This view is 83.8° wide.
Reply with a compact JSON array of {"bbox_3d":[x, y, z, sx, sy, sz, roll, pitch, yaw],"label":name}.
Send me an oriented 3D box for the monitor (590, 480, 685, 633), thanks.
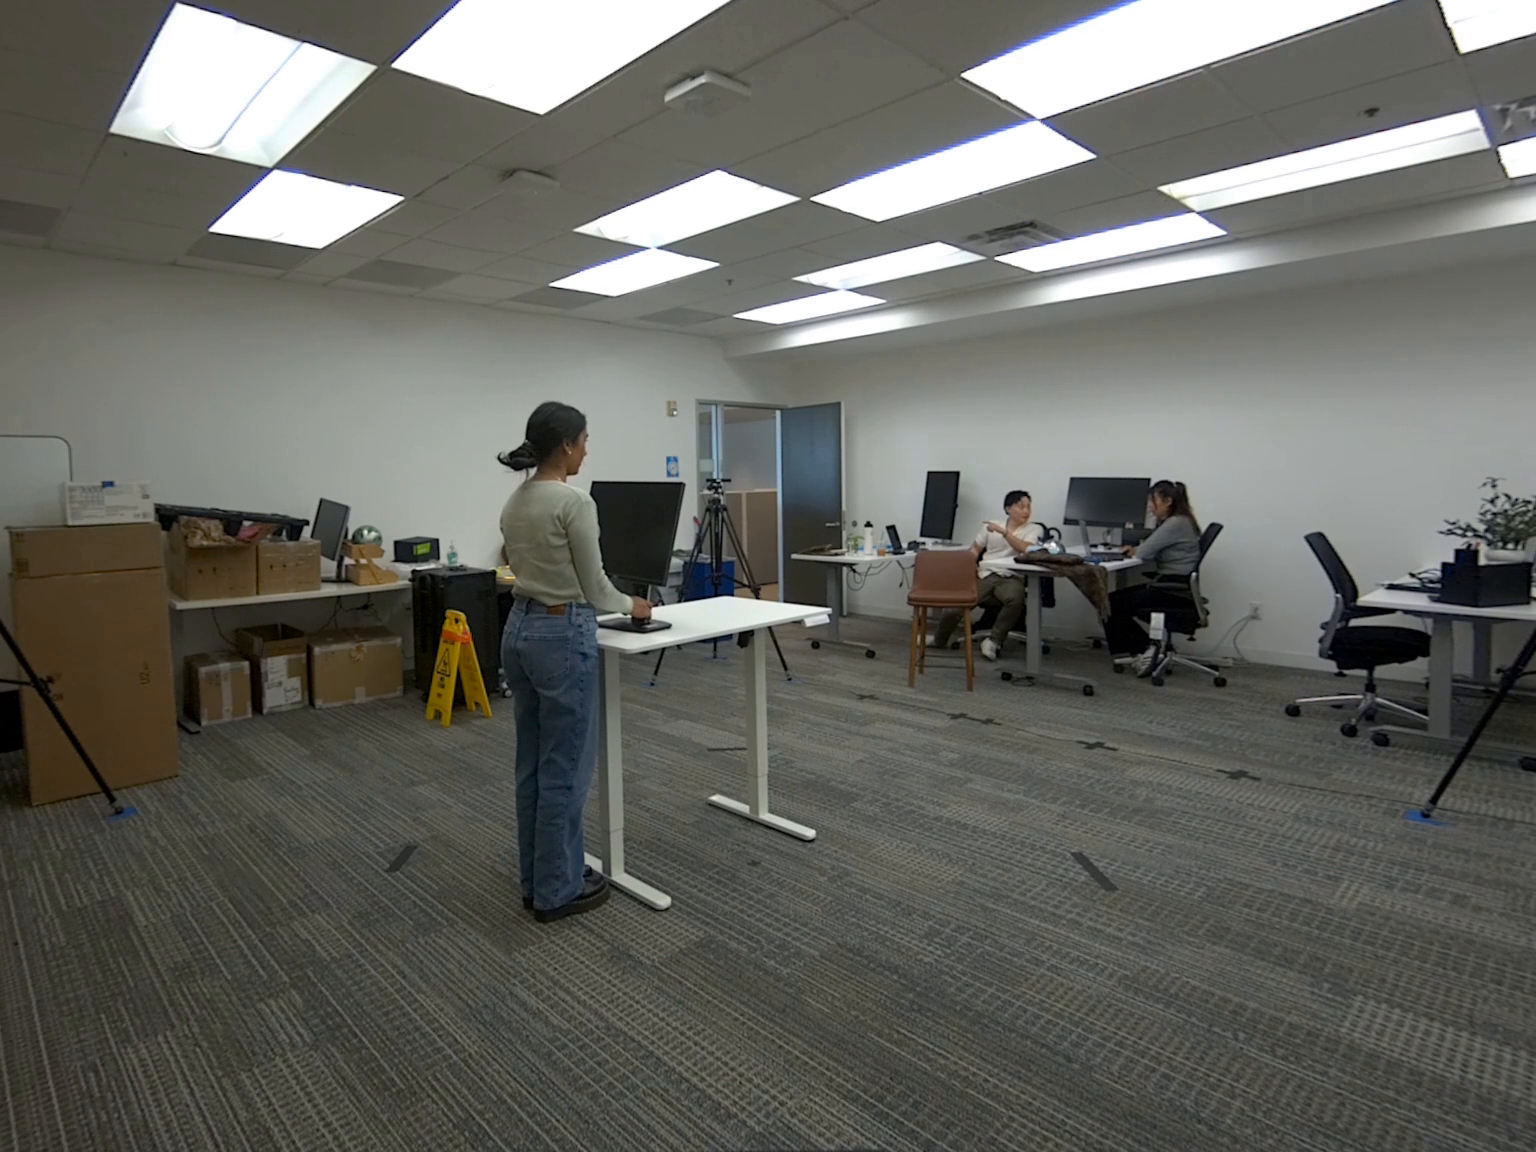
[{"bbox_3d":[-0.471,-0.070,3.015,0.556,0.521,0.182,5,4,44],"label":"monitor"}]
